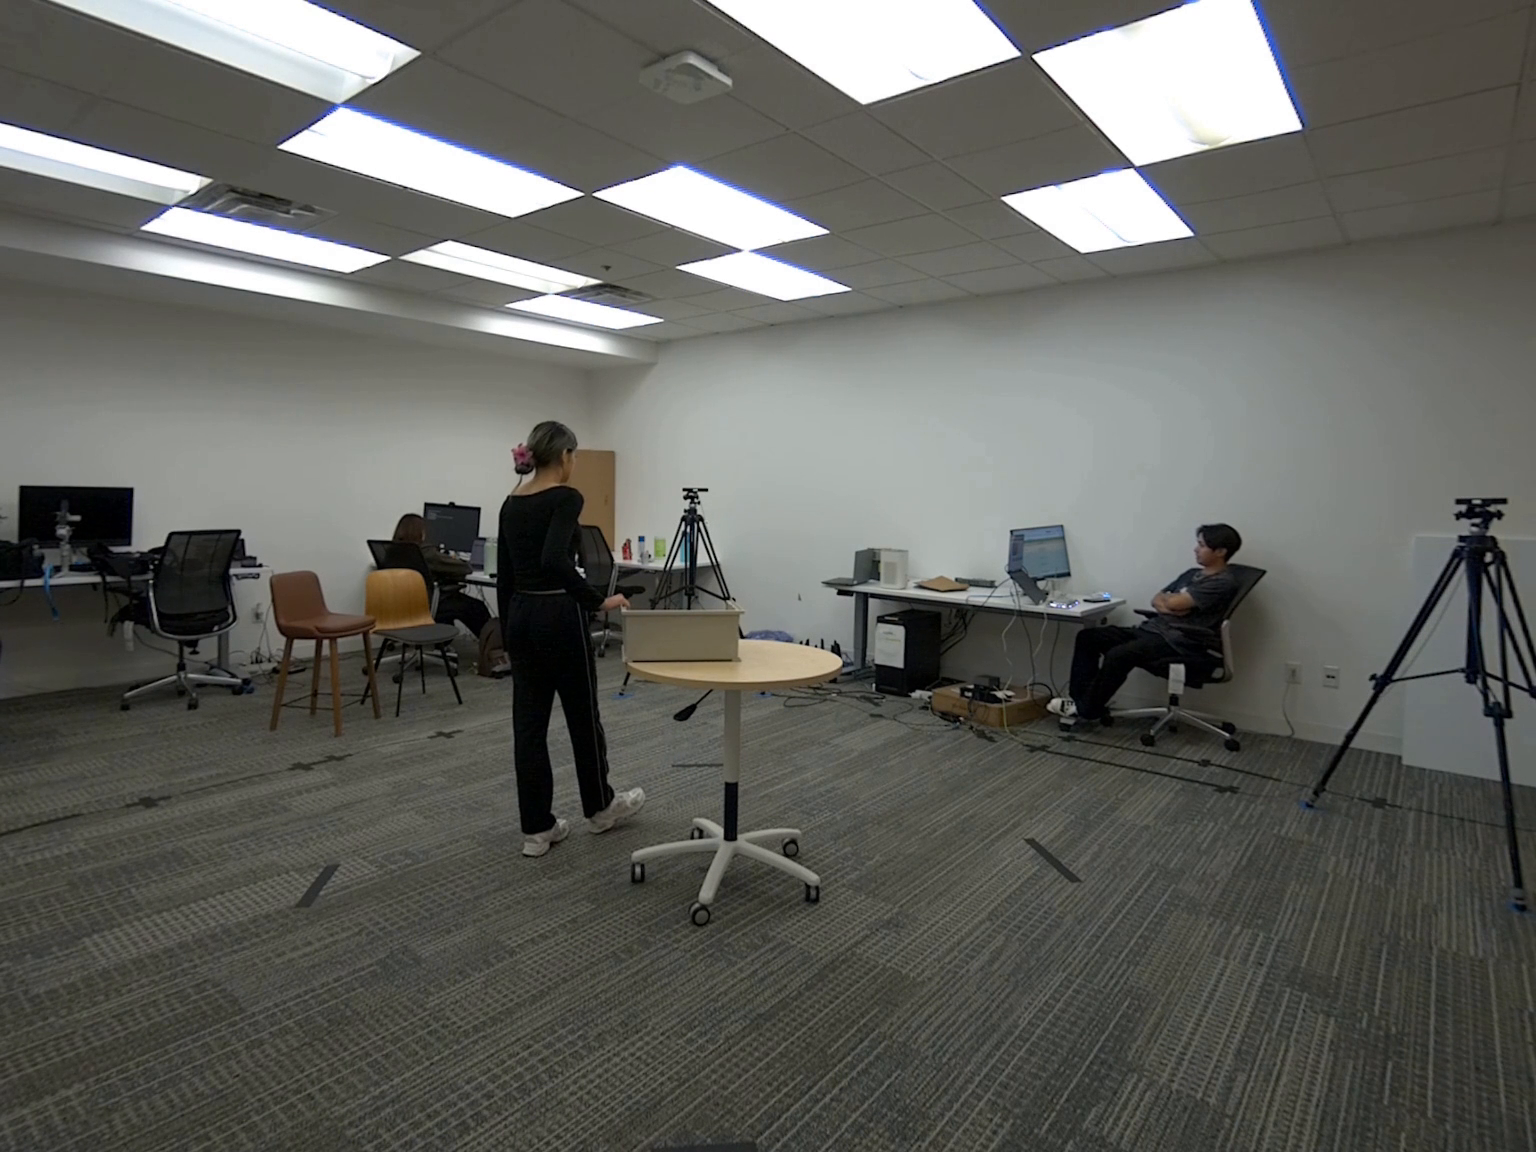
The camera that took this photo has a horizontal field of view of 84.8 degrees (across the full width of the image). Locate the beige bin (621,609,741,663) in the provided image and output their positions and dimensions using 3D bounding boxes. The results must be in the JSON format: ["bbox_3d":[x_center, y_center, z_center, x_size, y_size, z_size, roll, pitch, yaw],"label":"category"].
[{"bbox_3d":[-0.336,0.184,3.102,0.418,0.188,0.383,0,7,-9],"label":"beige bin"}]
